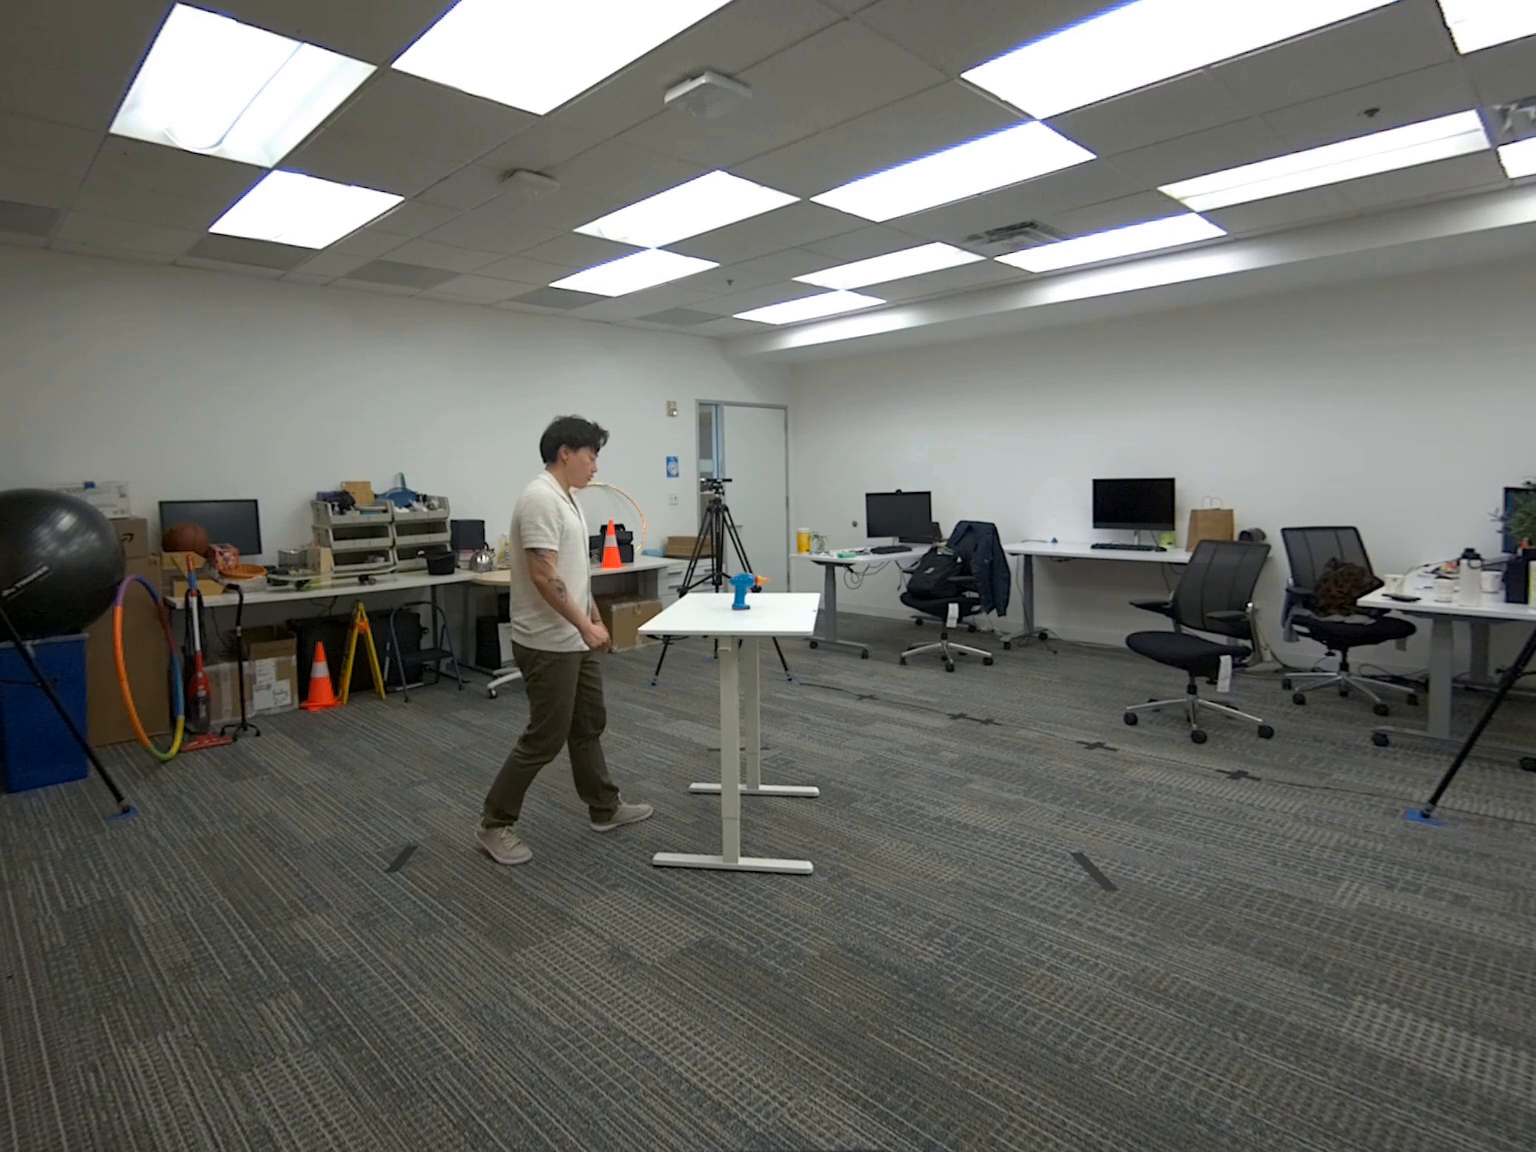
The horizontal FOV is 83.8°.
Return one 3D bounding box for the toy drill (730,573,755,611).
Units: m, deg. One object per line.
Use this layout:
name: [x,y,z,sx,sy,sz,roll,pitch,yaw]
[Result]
toy drill: [-0.083,0.058,3.395,0.167,0.146,0.062,-2,2,-14]
